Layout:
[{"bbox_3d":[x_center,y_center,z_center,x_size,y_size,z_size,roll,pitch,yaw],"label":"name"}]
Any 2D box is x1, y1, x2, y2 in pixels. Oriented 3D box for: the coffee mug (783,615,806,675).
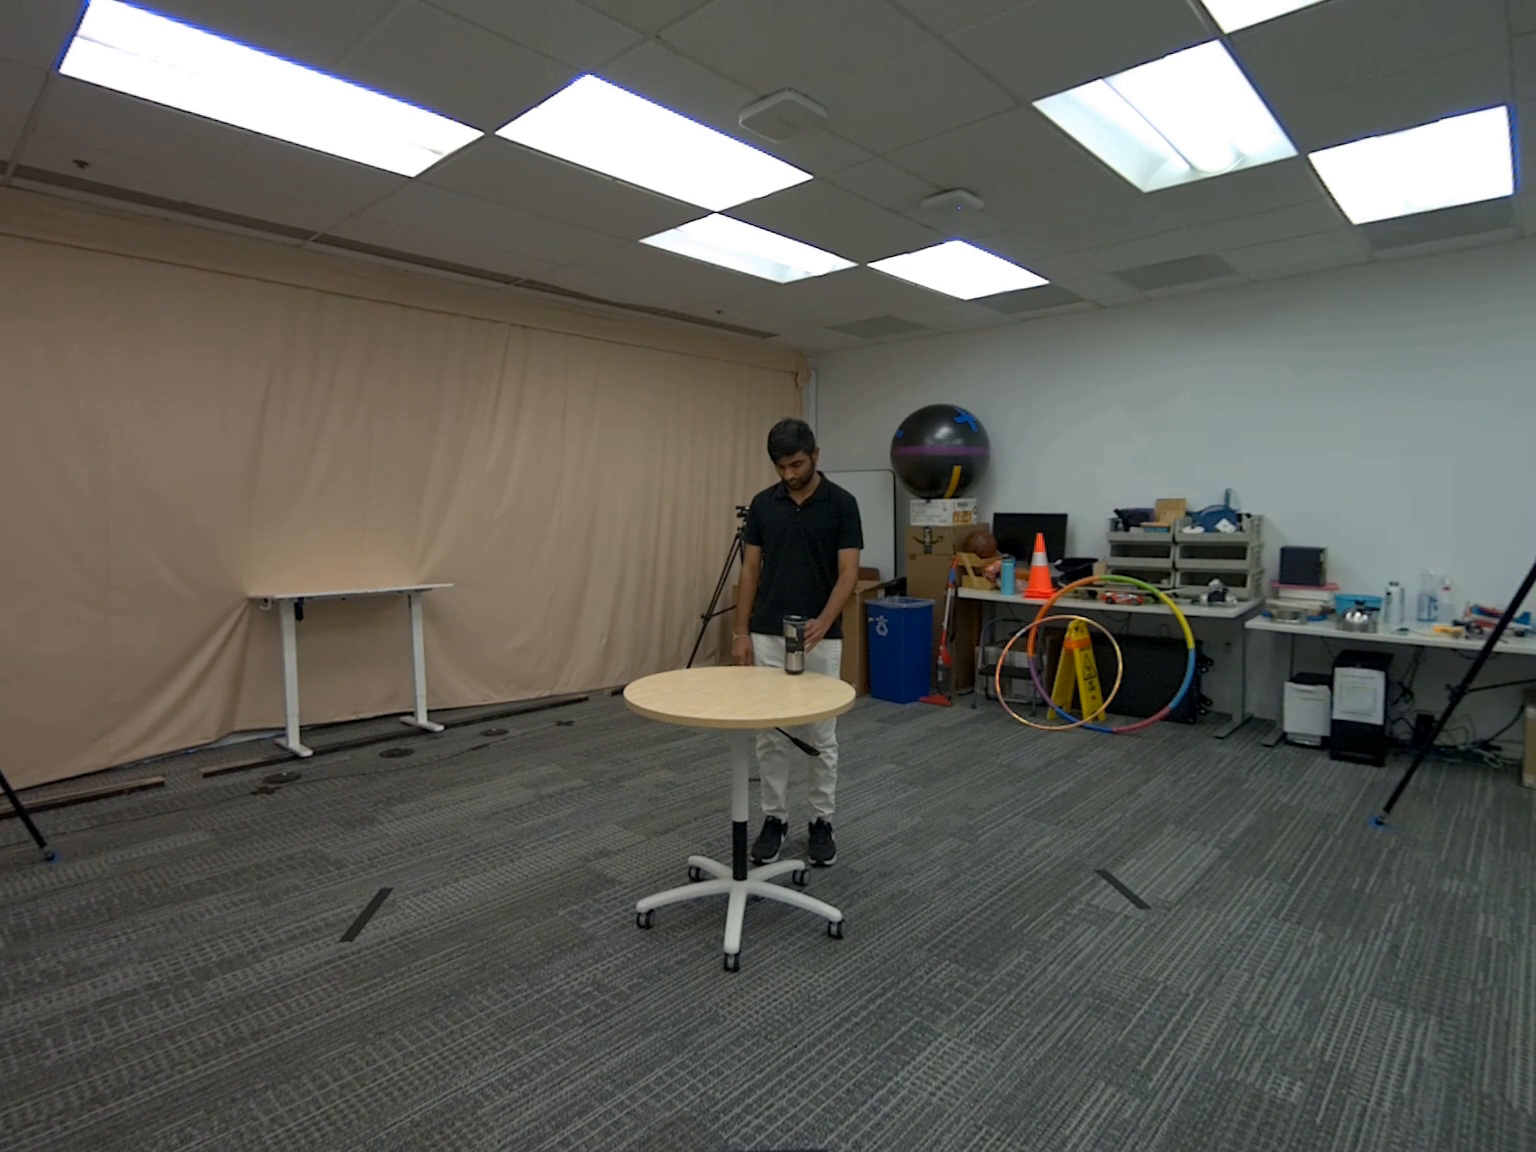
[{"bbox_3d":[0.098,0.244,3.020,0.089,0.202,0.120,5,4,11],"label":"coffee mug"}]
